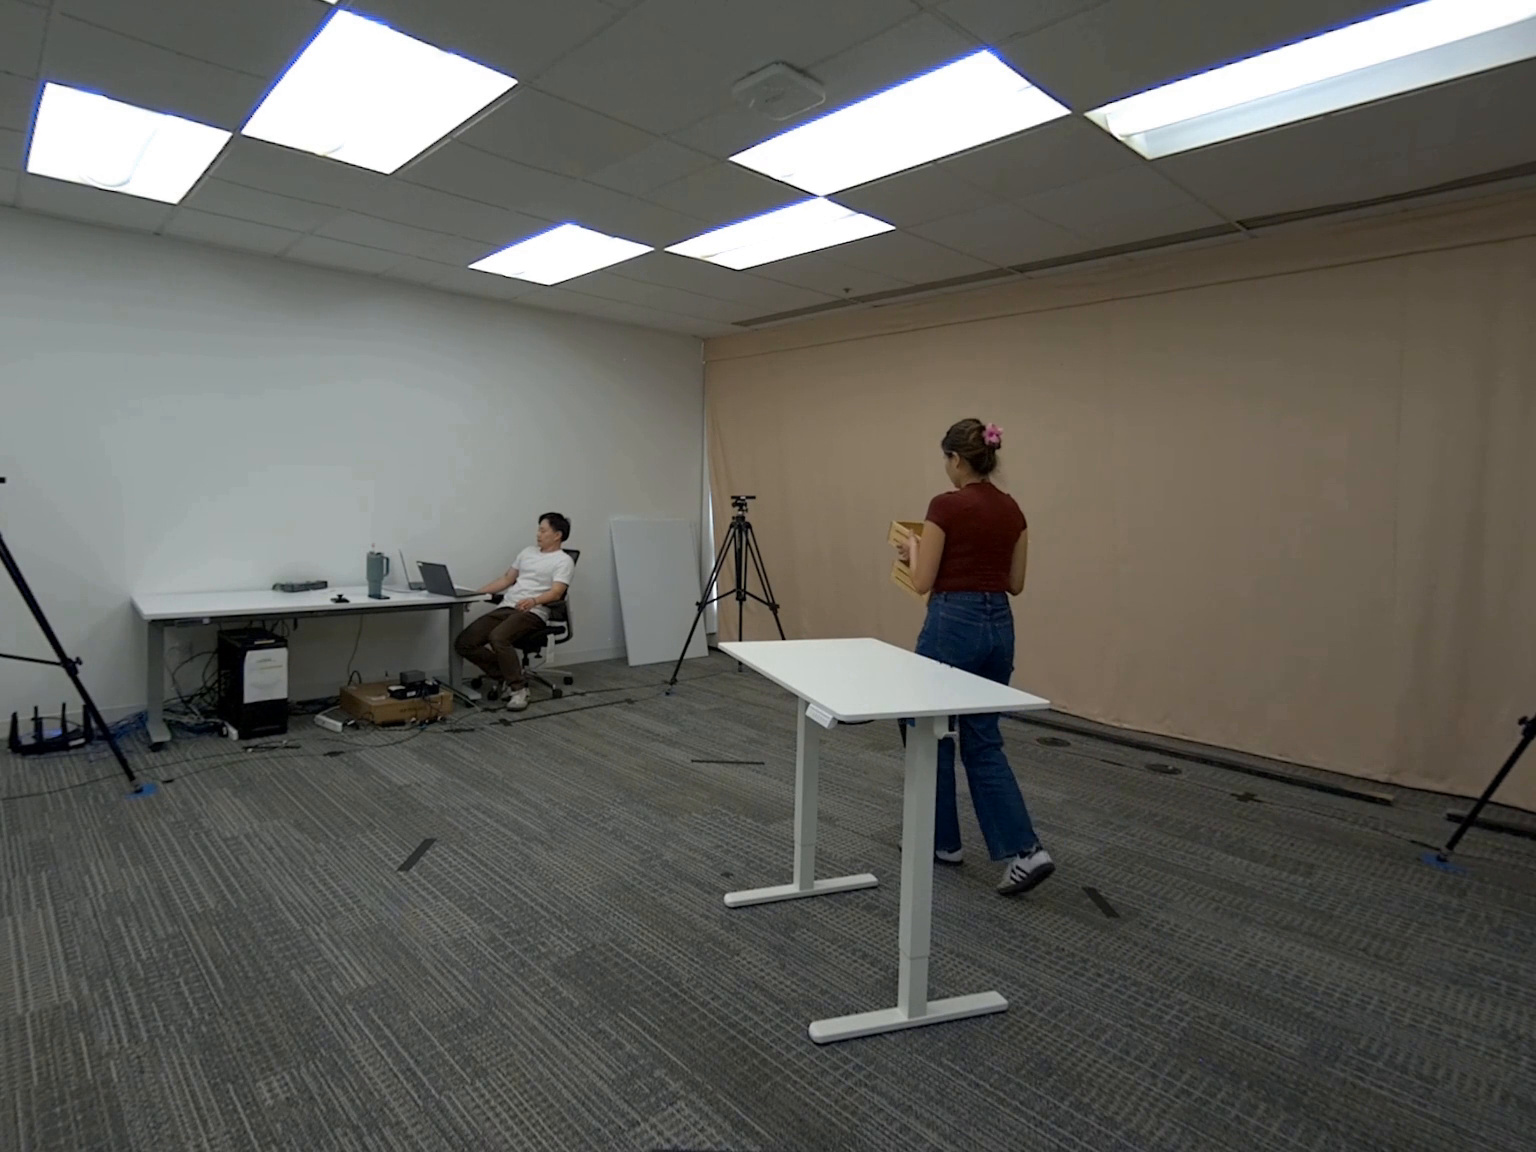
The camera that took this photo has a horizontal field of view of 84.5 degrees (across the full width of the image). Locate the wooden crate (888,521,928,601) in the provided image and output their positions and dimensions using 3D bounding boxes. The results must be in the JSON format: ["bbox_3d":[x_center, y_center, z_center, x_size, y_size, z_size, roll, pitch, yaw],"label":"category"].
[{"bbox_3d":[0.696,-0.053,3.456,0.297,0.270,0.333,1,21,-21],"label":"wooden crate"}]
